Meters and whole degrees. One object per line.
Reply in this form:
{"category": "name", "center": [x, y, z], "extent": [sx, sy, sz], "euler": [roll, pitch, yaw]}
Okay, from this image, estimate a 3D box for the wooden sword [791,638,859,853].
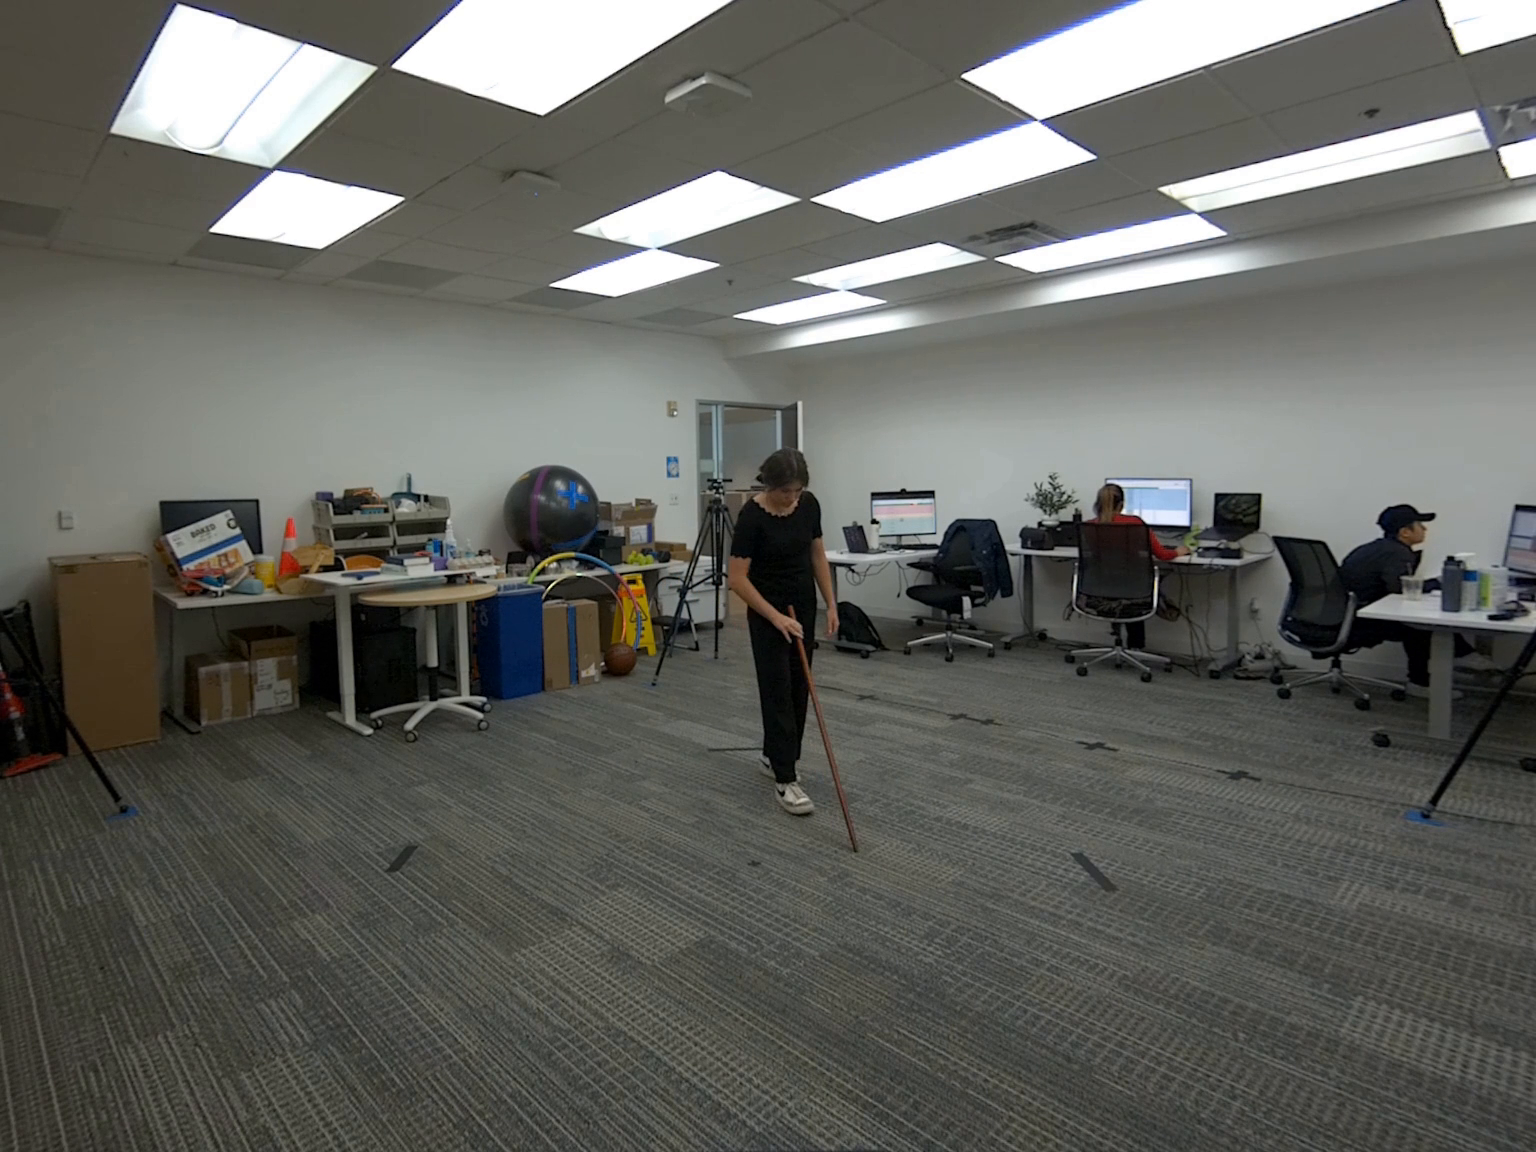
{"category": "wooden sword", "center": [0.208, 0.605, 3.443], "extent": [0.050, 1.056, 0.024], "euler": [2, -35, -32]}
